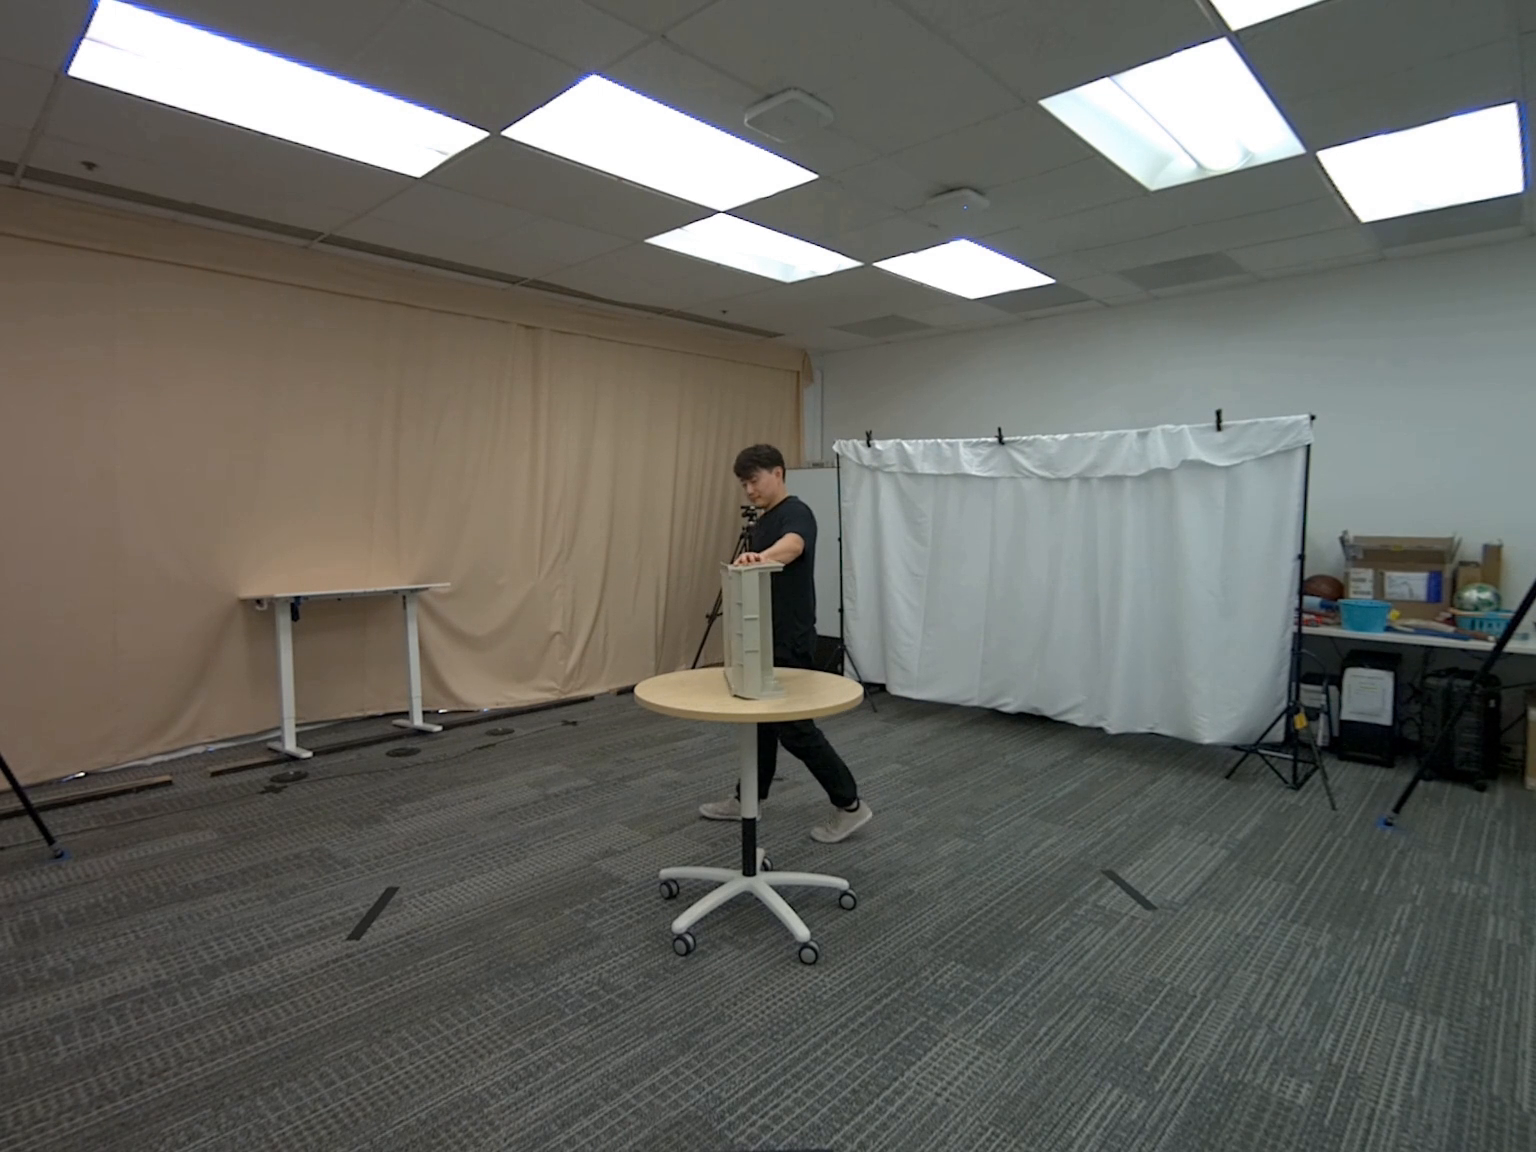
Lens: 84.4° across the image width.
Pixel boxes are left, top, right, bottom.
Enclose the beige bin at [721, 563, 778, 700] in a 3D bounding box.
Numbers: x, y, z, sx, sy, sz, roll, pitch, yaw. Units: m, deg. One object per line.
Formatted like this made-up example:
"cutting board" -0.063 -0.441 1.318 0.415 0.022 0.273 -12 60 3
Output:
"beige bin" -0.048 0.166 2.806 0.188 0.421 0.380 -3 4 -6
